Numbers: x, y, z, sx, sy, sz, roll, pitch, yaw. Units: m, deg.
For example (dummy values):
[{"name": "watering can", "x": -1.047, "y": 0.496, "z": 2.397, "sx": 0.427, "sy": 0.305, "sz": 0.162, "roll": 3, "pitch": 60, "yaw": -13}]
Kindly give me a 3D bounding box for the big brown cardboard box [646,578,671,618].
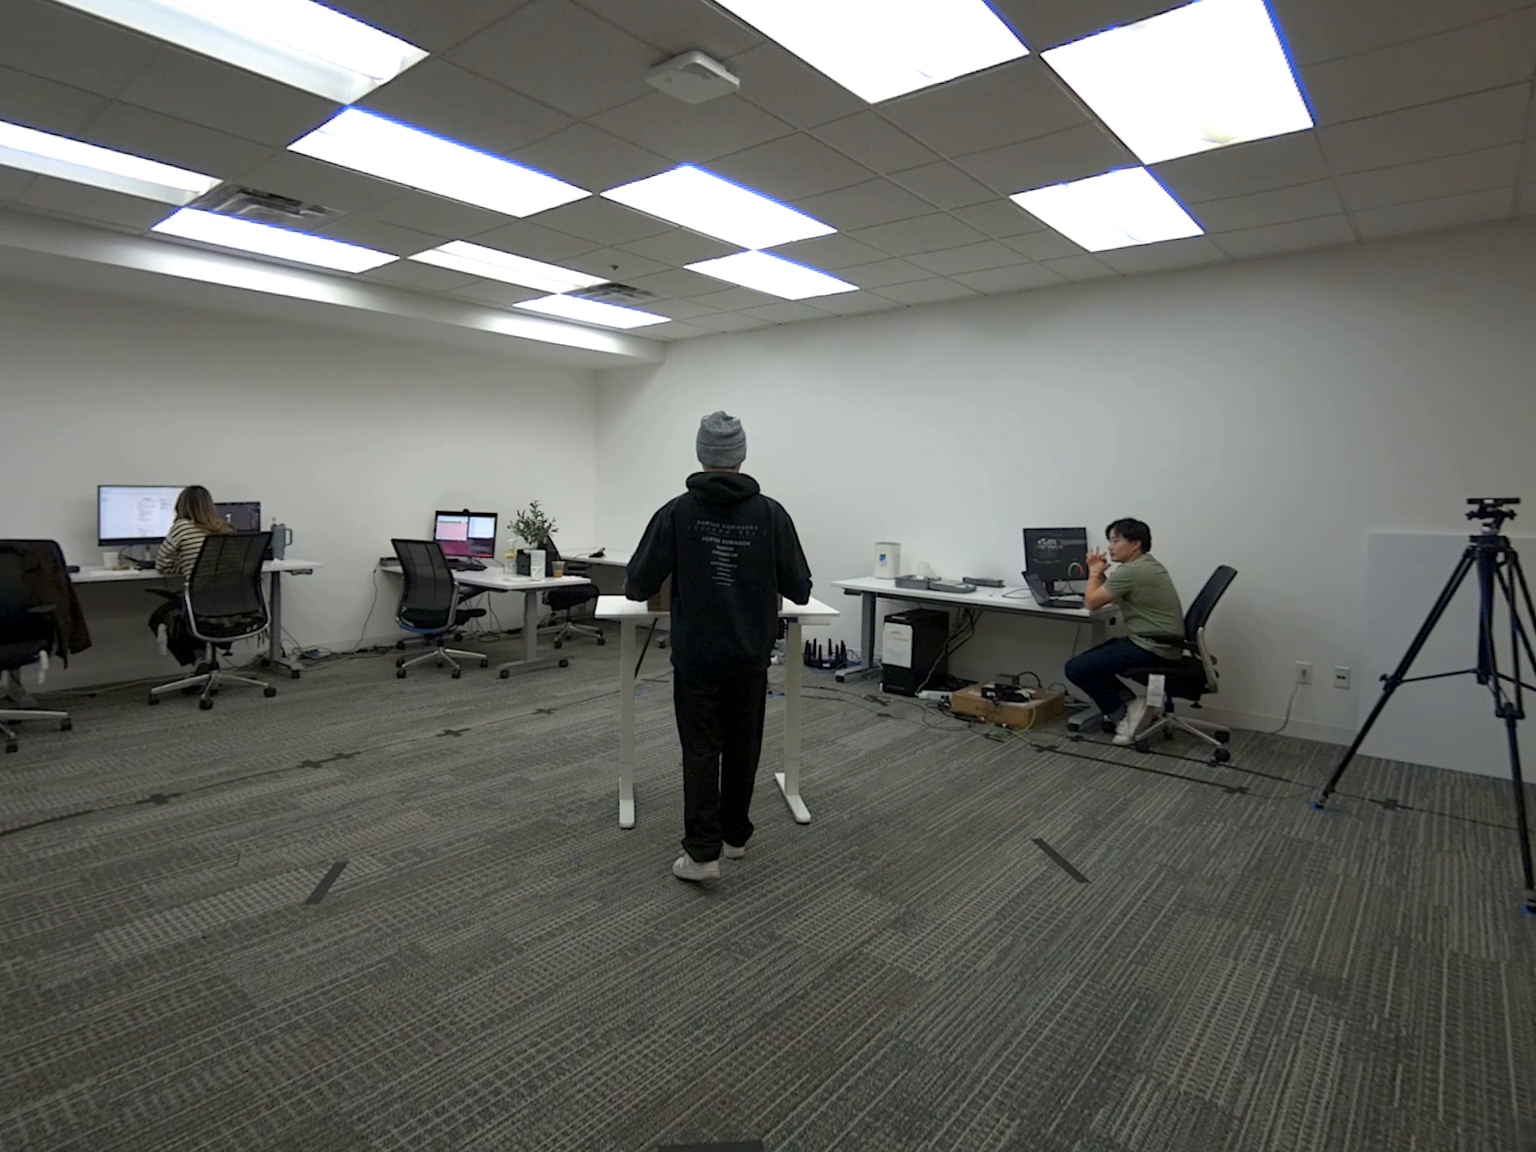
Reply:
[{"name": "big brown cardboard box", "x": -0.250, "y": 0.013, "z": 3.706, "sx": 0.584, "sy": 0.232, "sz": 0.422, "roll": -1, "pitch": 5, "yaw": -8}]
